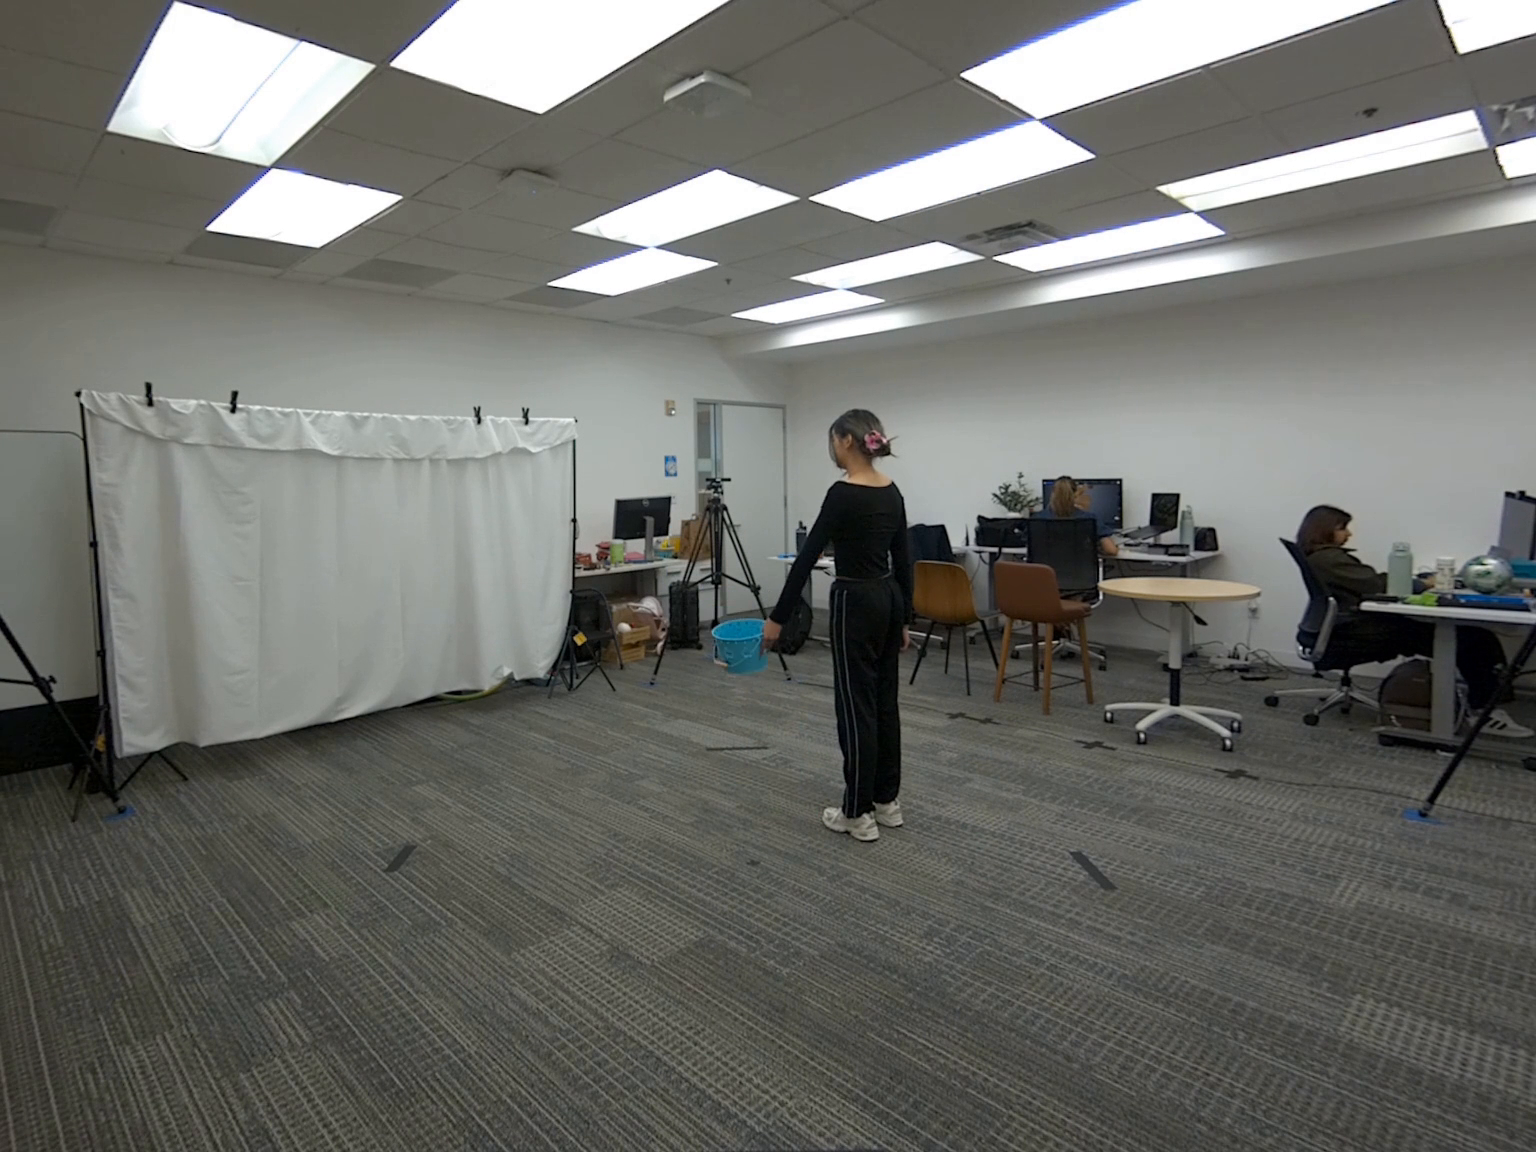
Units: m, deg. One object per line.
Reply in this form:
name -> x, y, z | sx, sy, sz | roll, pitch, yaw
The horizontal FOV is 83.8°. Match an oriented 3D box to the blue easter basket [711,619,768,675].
blue easter basket -> -0.101, 0.272, 3.357 | 0.244, 0.154, 0.247 | -5, 15, 0
